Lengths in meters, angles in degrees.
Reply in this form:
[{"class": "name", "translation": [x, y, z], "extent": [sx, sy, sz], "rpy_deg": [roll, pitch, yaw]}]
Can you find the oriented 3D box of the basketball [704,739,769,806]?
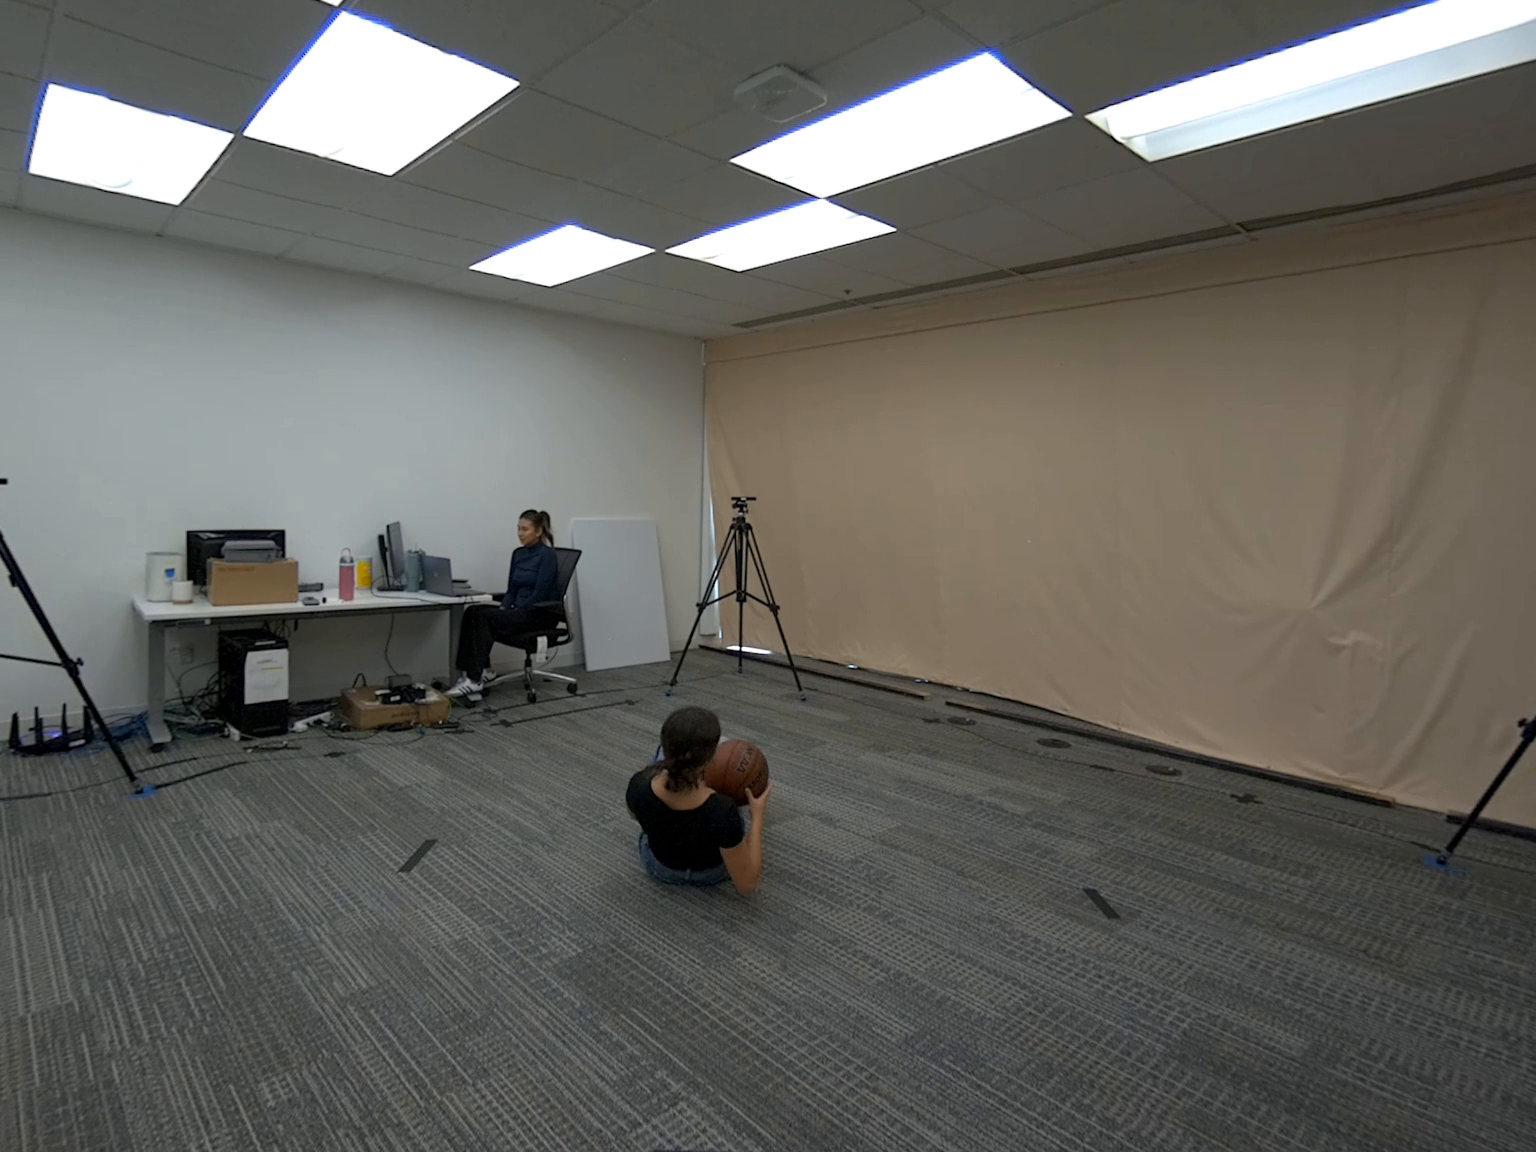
[{"class": "basketball", "translation": [-0.120, 0.732, 3.074], "extent": [0.236, 0.235, 0.237], "rpy_deg": [1, 4, -1]}]
